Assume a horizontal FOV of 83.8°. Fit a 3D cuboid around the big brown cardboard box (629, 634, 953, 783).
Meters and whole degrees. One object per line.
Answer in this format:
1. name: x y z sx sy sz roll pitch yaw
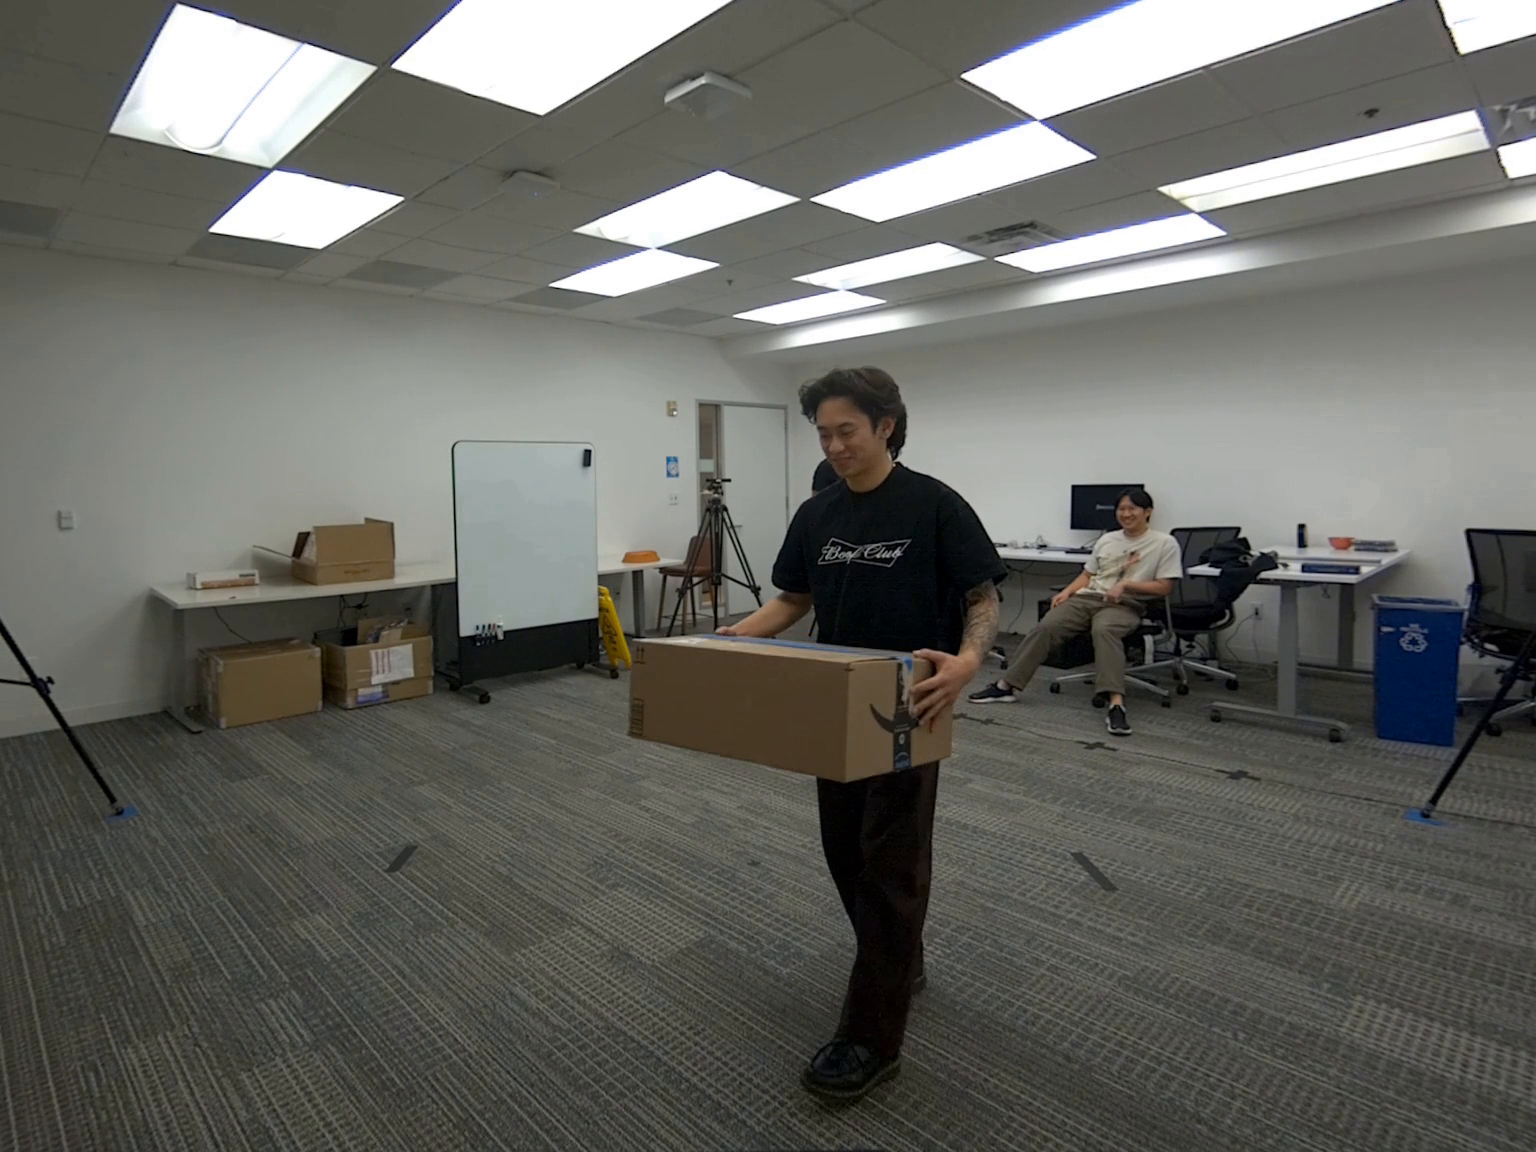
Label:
1. big brown cardboard box: 0.043 0.261 1.855 0.607 0.233 0.404 4 -1 41
